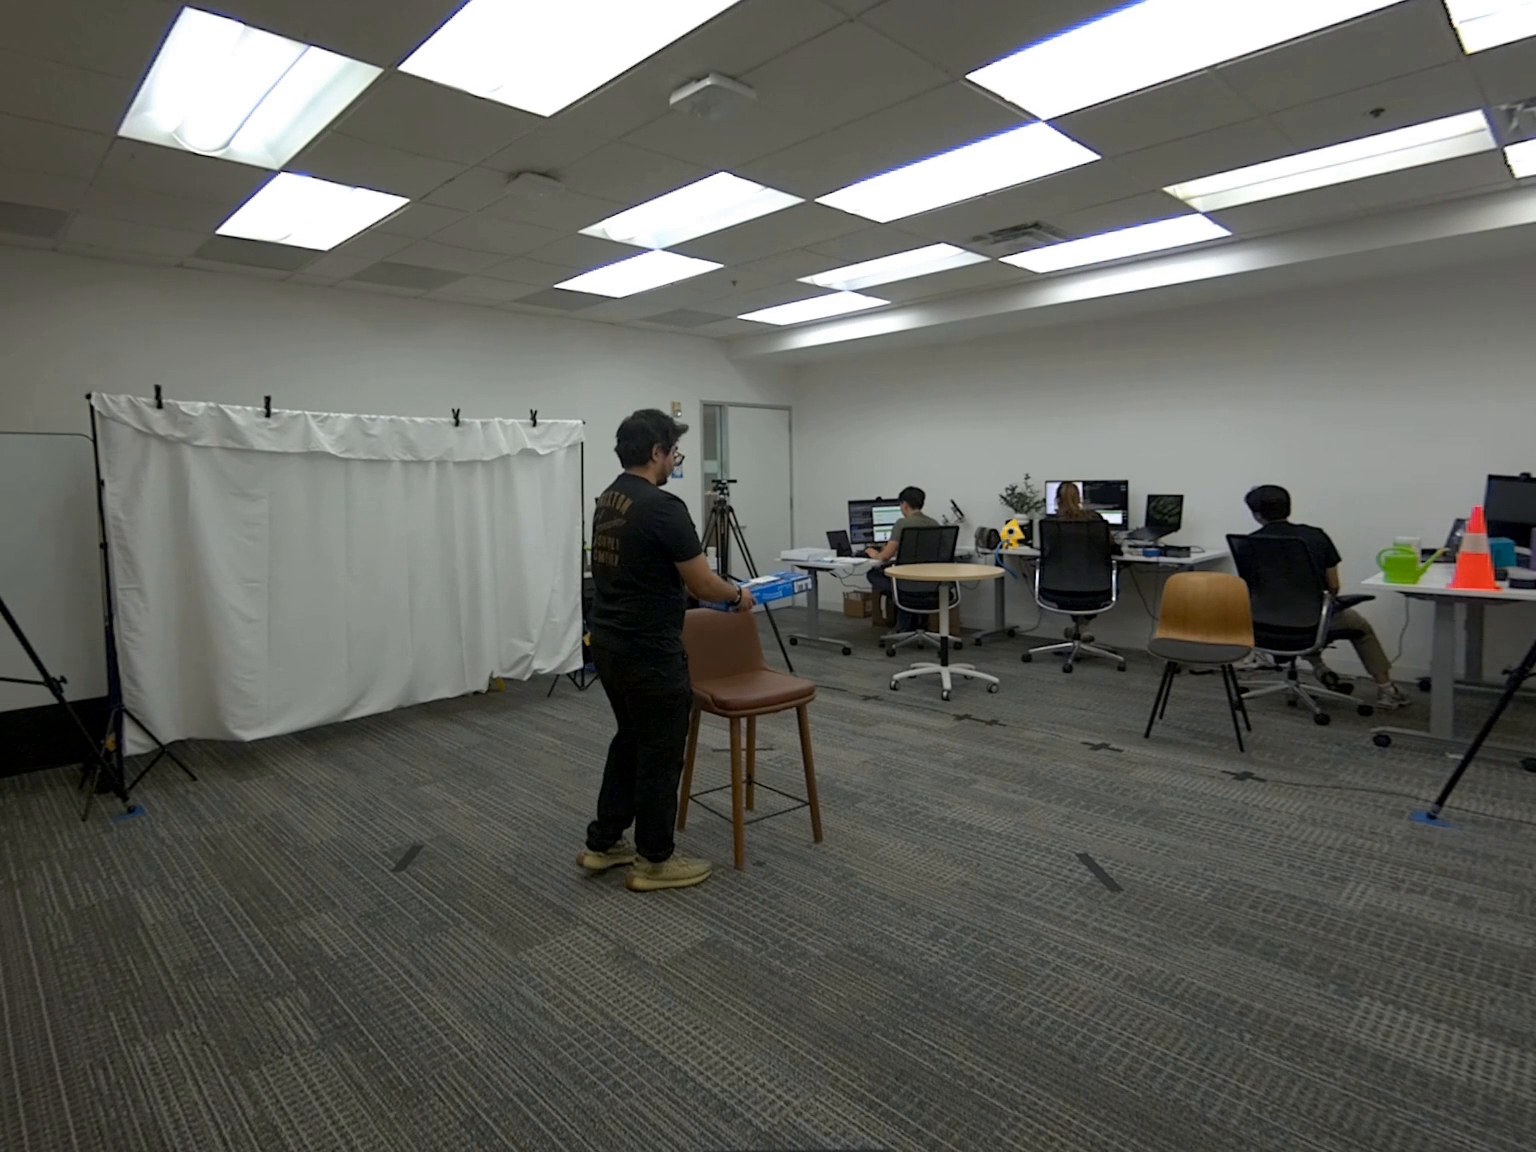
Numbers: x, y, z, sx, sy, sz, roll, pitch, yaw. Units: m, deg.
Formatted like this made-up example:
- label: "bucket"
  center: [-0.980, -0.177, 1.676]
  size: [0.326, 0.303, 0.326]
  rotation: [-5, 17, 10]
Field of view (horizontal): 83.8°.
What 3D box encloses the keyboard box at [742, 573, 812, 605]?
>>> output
- label: "keyboard box"
  center: [-0.039, 0.060, 3.302]
  size: [0.427, 0.058, 0.181]
  rotation: [-14, 14, -38]
